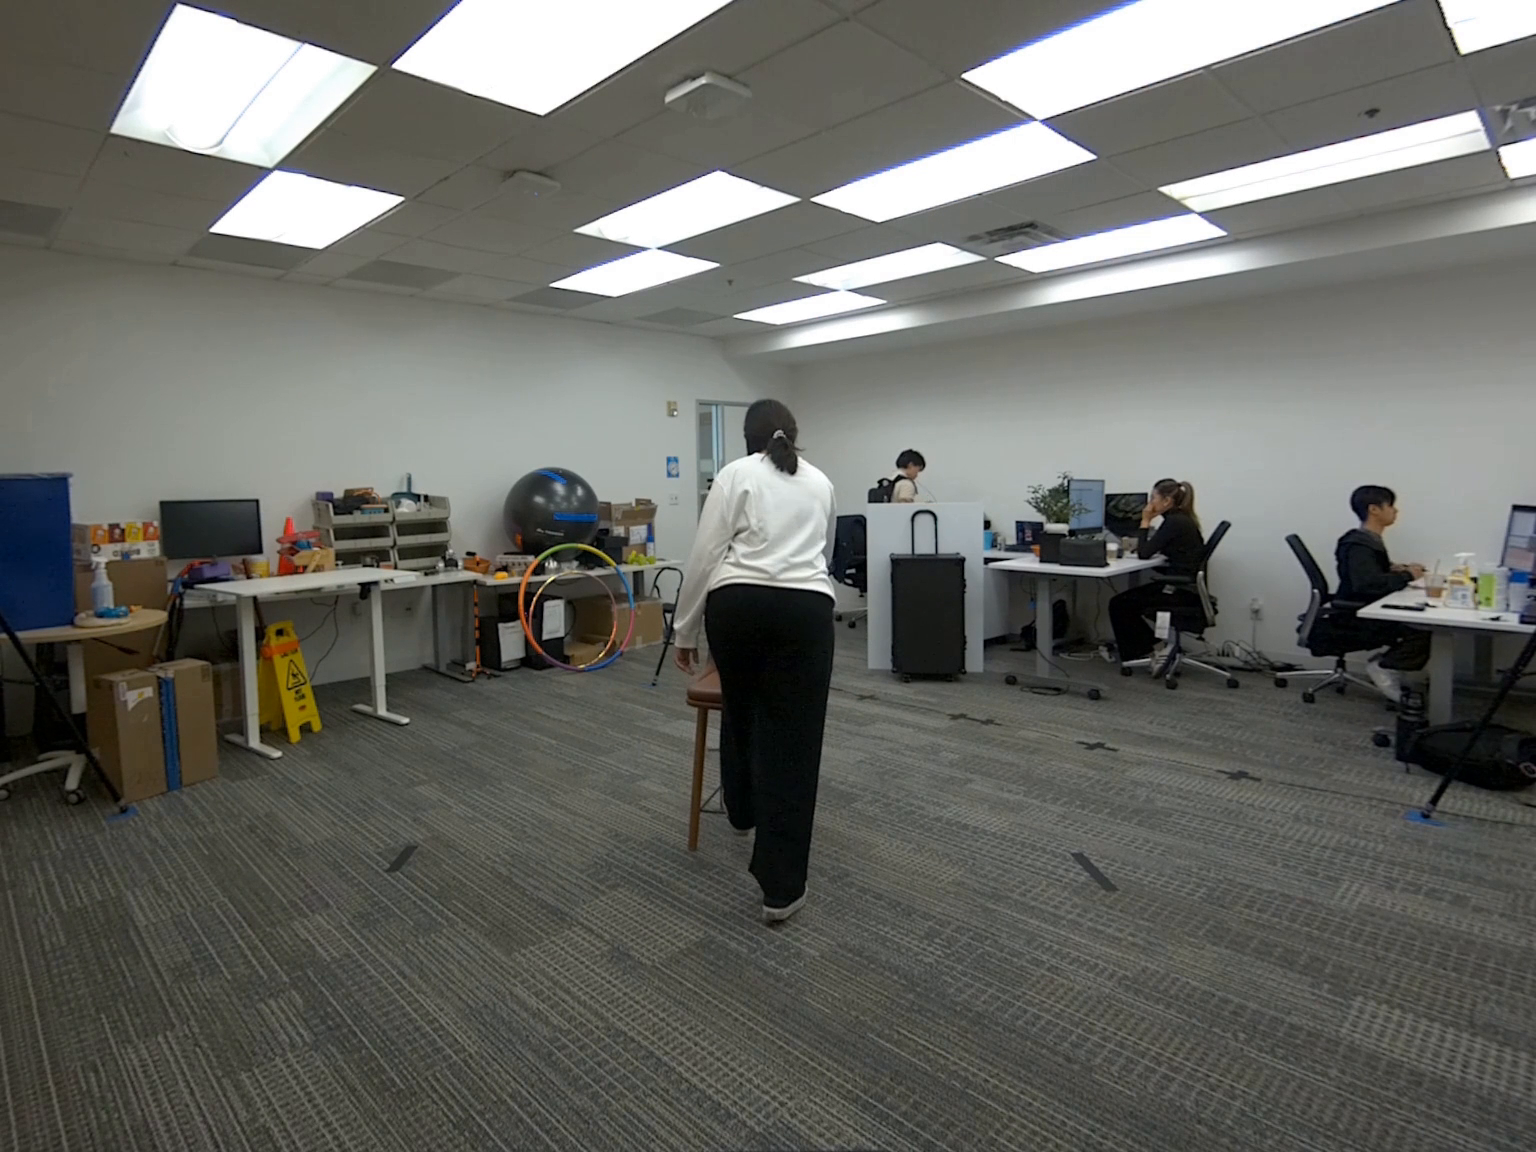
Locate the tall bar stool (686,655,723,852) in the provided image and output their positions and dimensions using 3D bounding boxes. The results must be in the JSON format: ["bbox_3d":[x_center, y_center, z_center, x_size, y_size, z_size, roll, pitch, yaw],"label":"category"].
[{"bbox_3d":[-0.057,0.580,3.373,0.463,0.888,0.462,0,2,14],"label":"tall bar stool"}]
